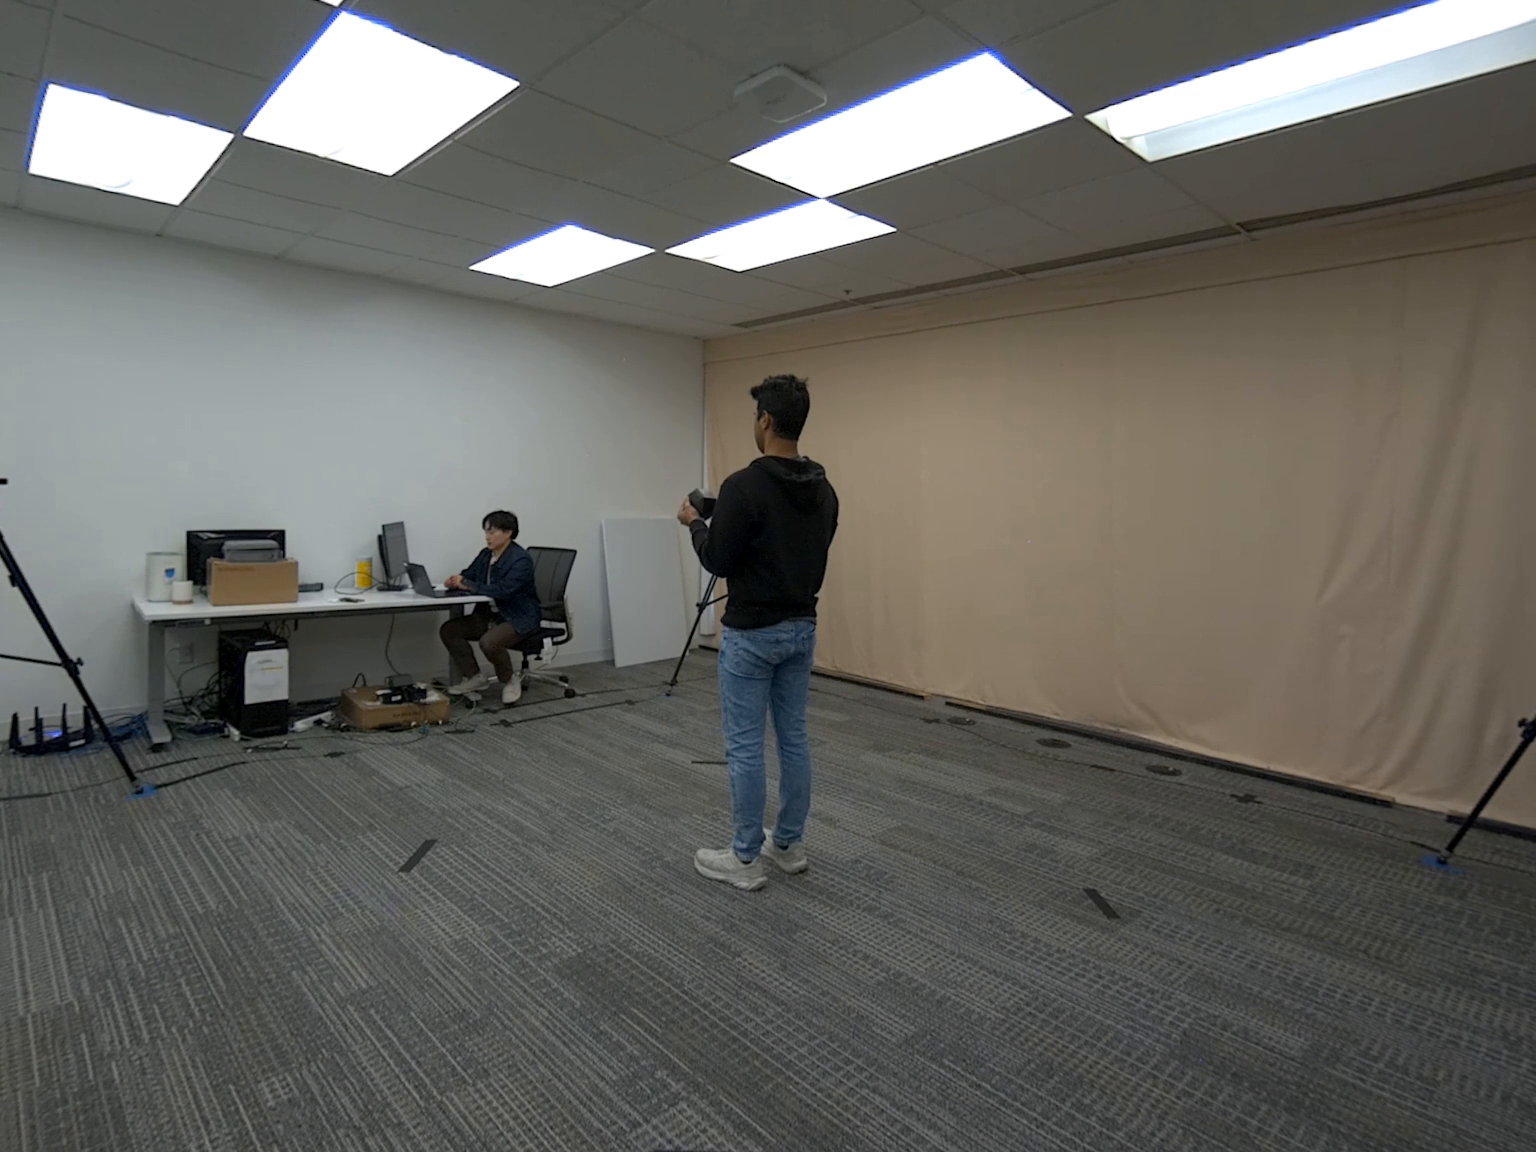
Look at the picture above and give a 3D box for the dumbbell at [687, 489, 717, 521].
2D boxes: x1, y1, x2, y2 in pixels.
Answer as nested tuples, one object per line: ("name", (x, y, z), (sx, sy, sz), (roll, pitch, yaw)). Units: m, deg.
("dumbbell", (-0.171, -0.255, 3.262), (0.286, 0.110, 0.124), (2, -22, -42))
